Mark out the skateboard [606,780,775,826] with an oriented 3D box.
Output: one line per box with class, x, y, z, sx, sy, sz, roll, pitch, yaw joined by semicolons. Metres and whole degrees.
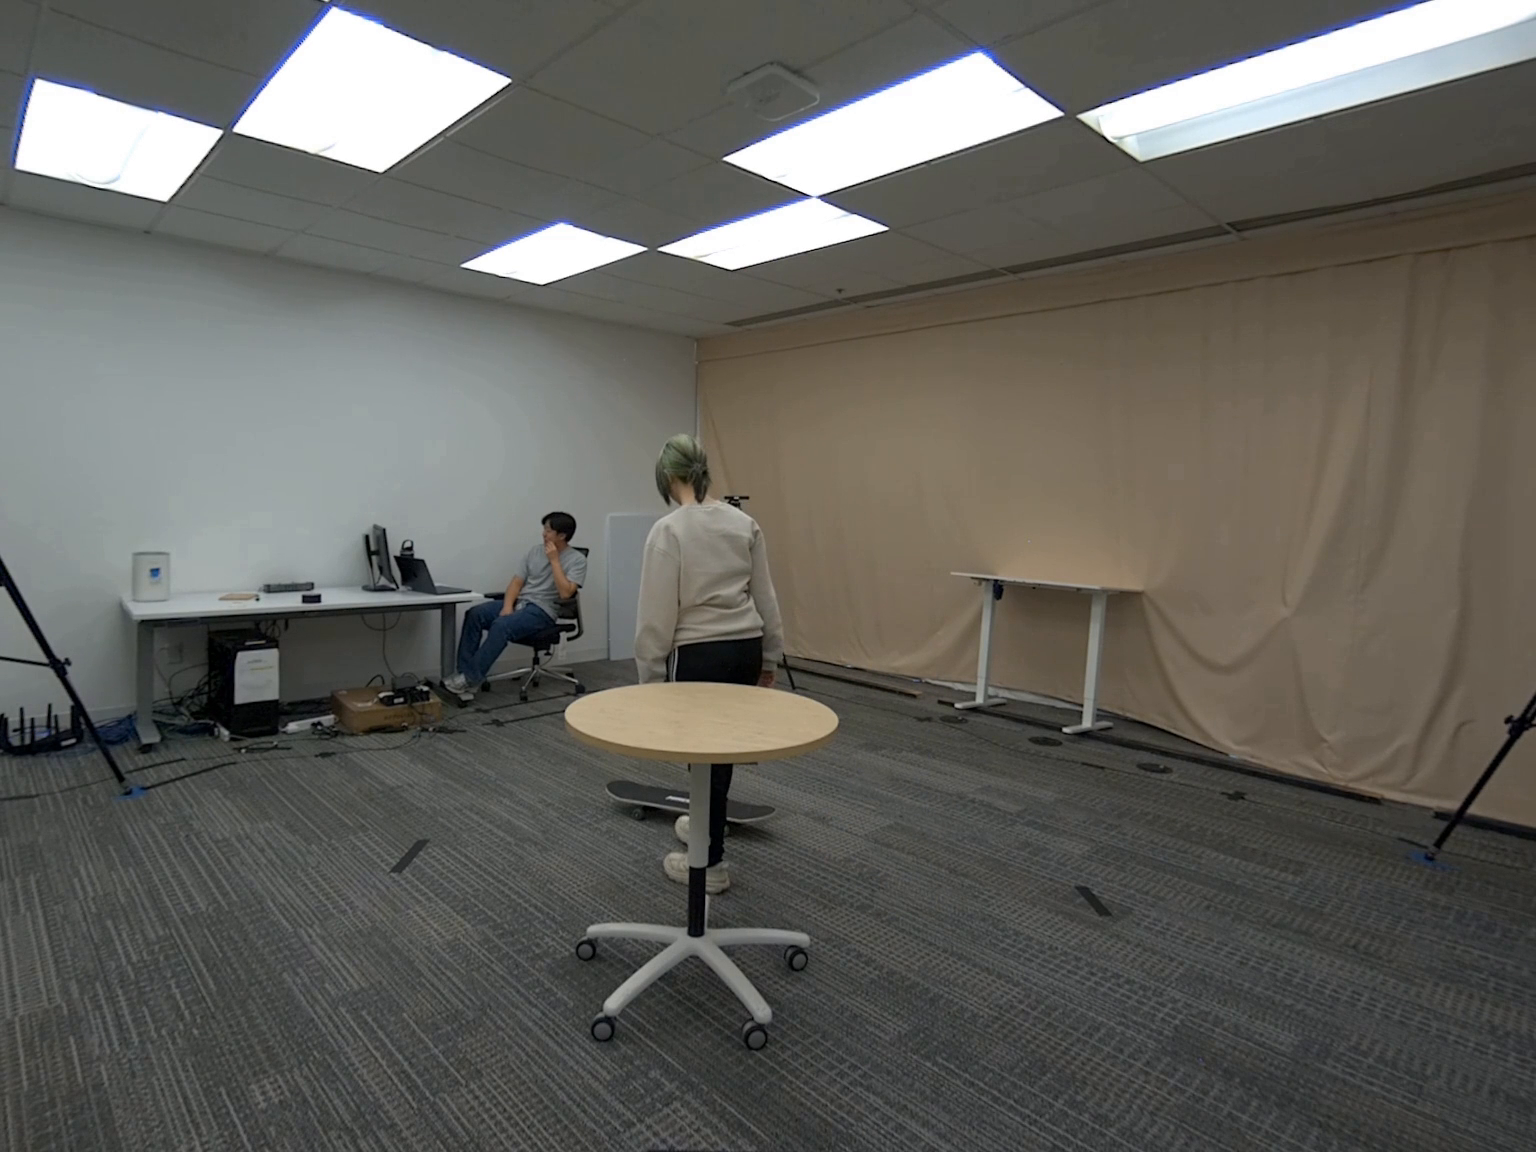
skateboard;-0.355;0.994;3.609;0.800;0.110;0.190;4;5;23
